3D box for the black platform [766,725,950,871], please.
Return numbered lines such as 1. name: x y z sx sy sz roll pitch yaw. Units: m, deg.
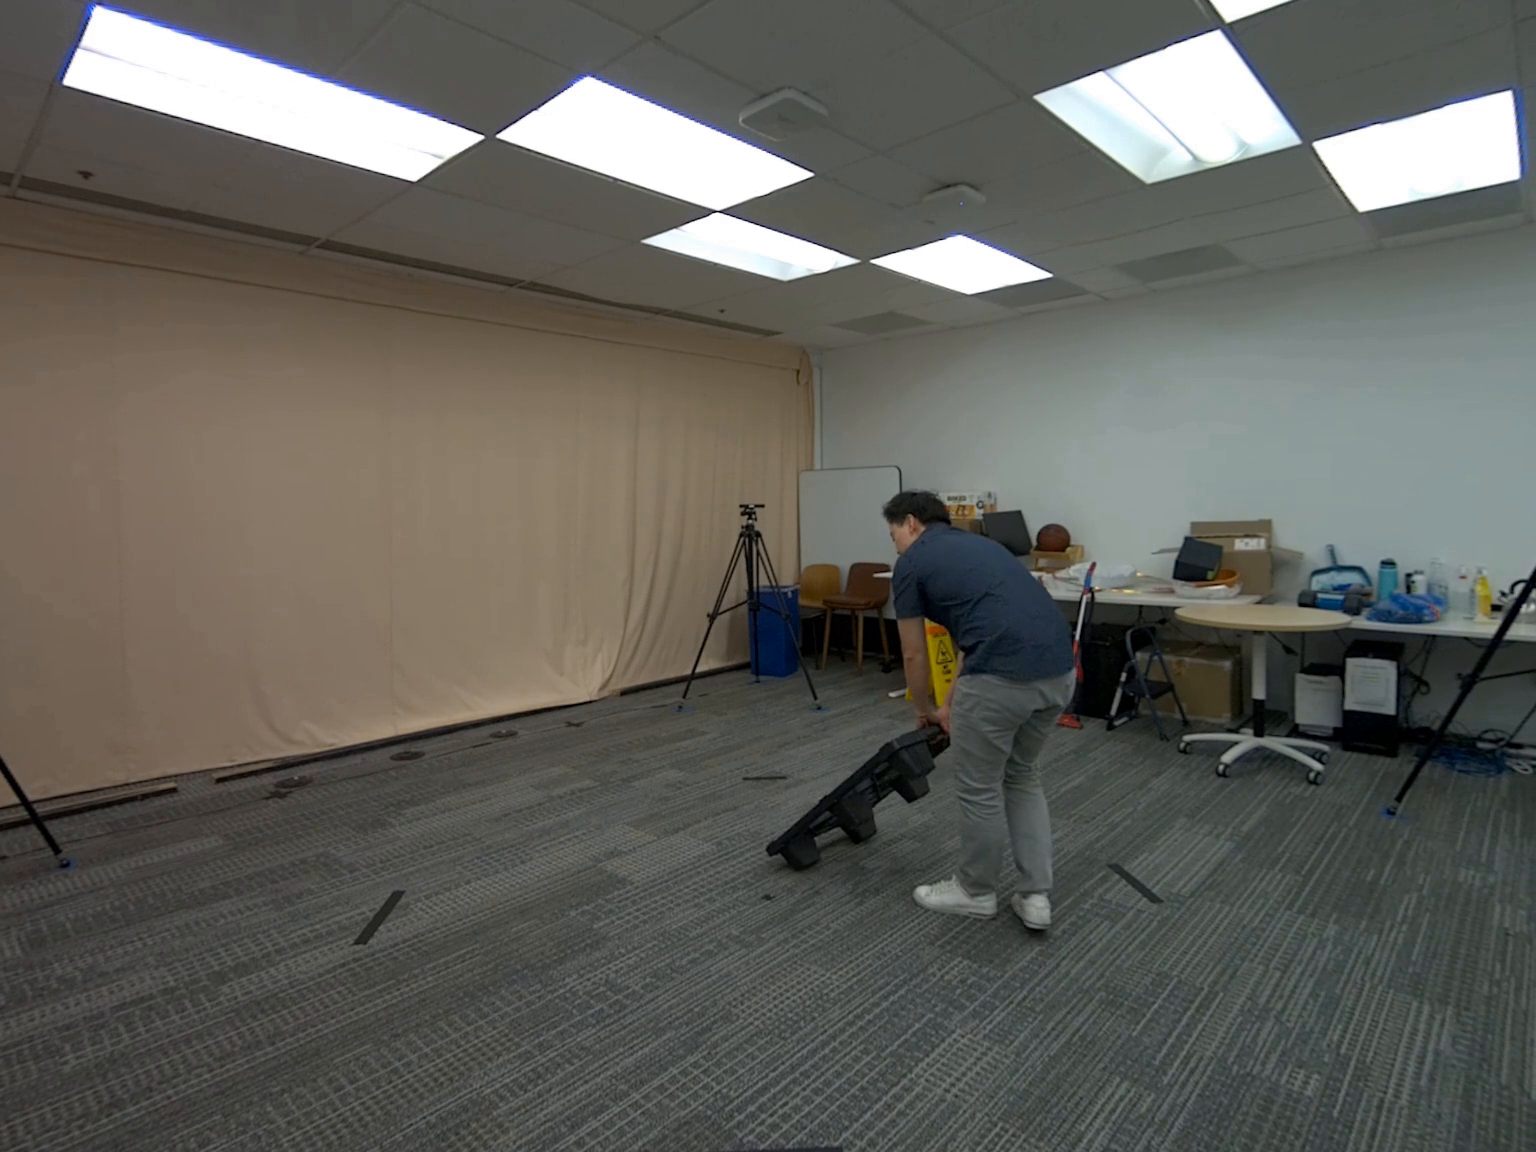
1. black platform: 0.432 0.815 3.161 0.587 0.147 0.809 -6 -36 -46
